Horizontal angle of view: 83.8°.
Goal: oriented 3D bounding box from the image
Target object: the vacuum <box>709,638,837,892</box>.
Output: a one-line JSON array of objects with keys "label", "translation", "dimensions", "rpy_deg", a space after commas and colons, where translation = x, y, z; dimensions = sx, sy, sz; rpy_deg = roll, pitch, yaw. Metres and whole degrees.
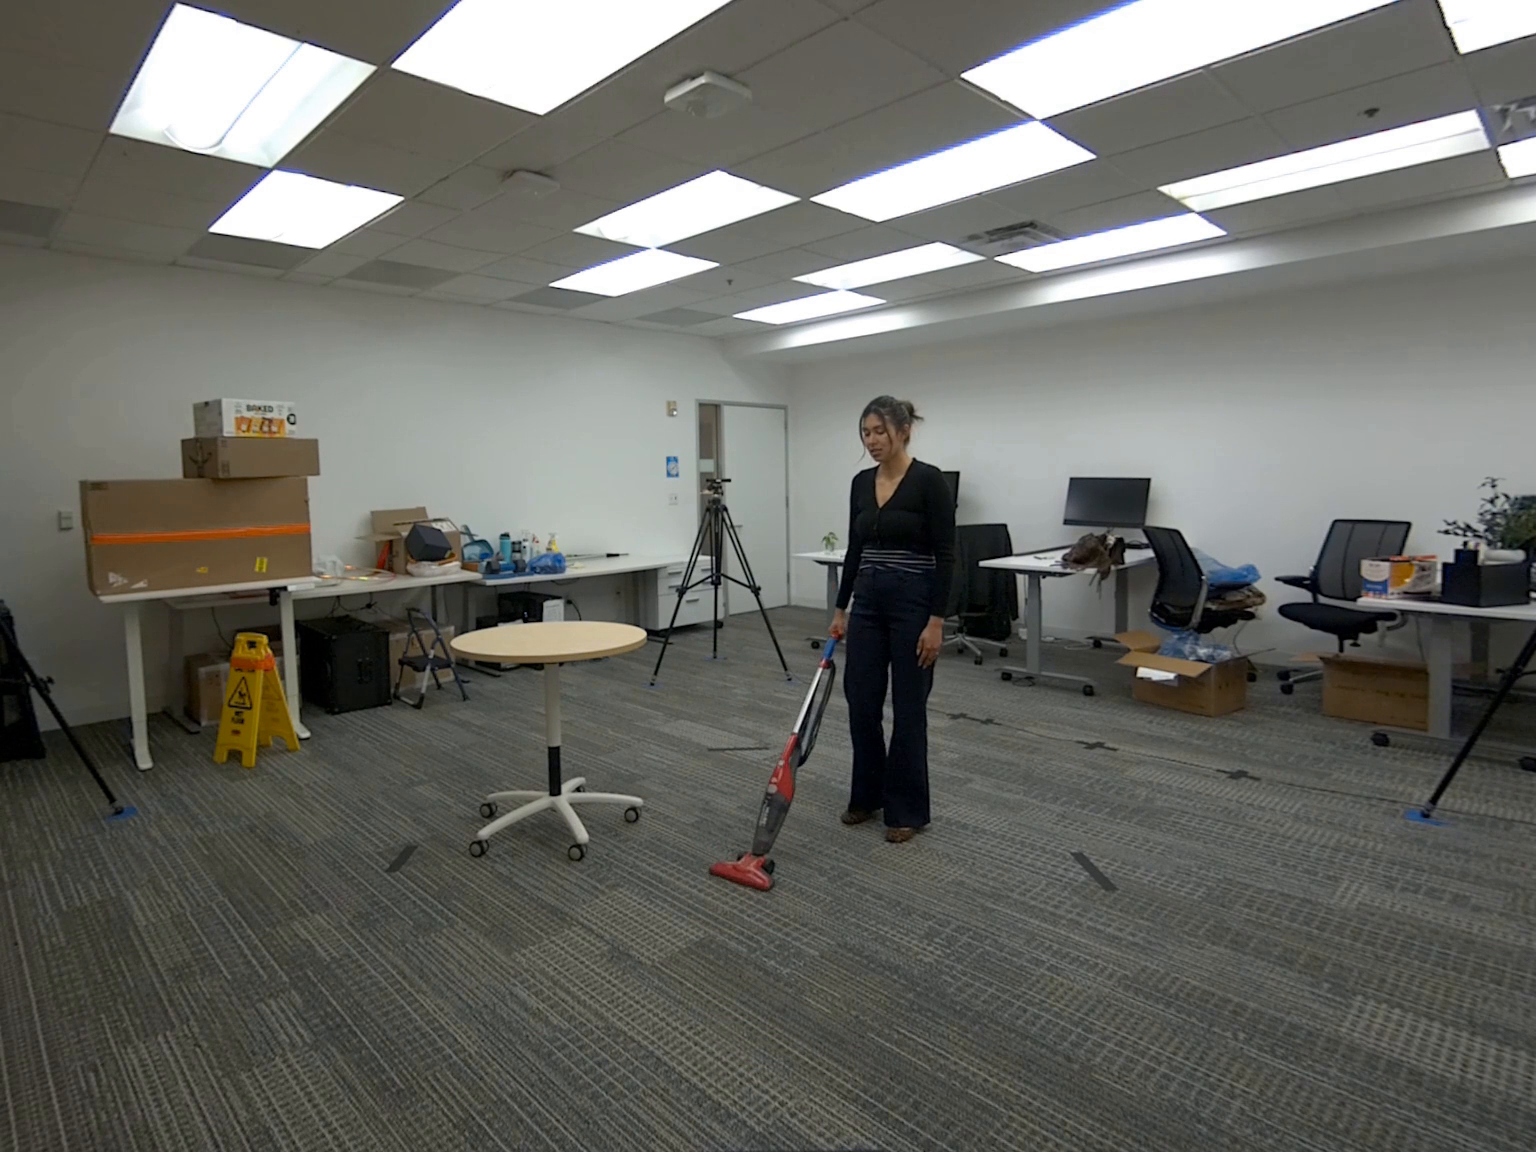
[{"label": "vacuum", "translation": [0.109, 0.642, 3.260], "dimensions": [0.259, 1.061, 0.138], "rpy_deg": [3, -36, 30]}]
